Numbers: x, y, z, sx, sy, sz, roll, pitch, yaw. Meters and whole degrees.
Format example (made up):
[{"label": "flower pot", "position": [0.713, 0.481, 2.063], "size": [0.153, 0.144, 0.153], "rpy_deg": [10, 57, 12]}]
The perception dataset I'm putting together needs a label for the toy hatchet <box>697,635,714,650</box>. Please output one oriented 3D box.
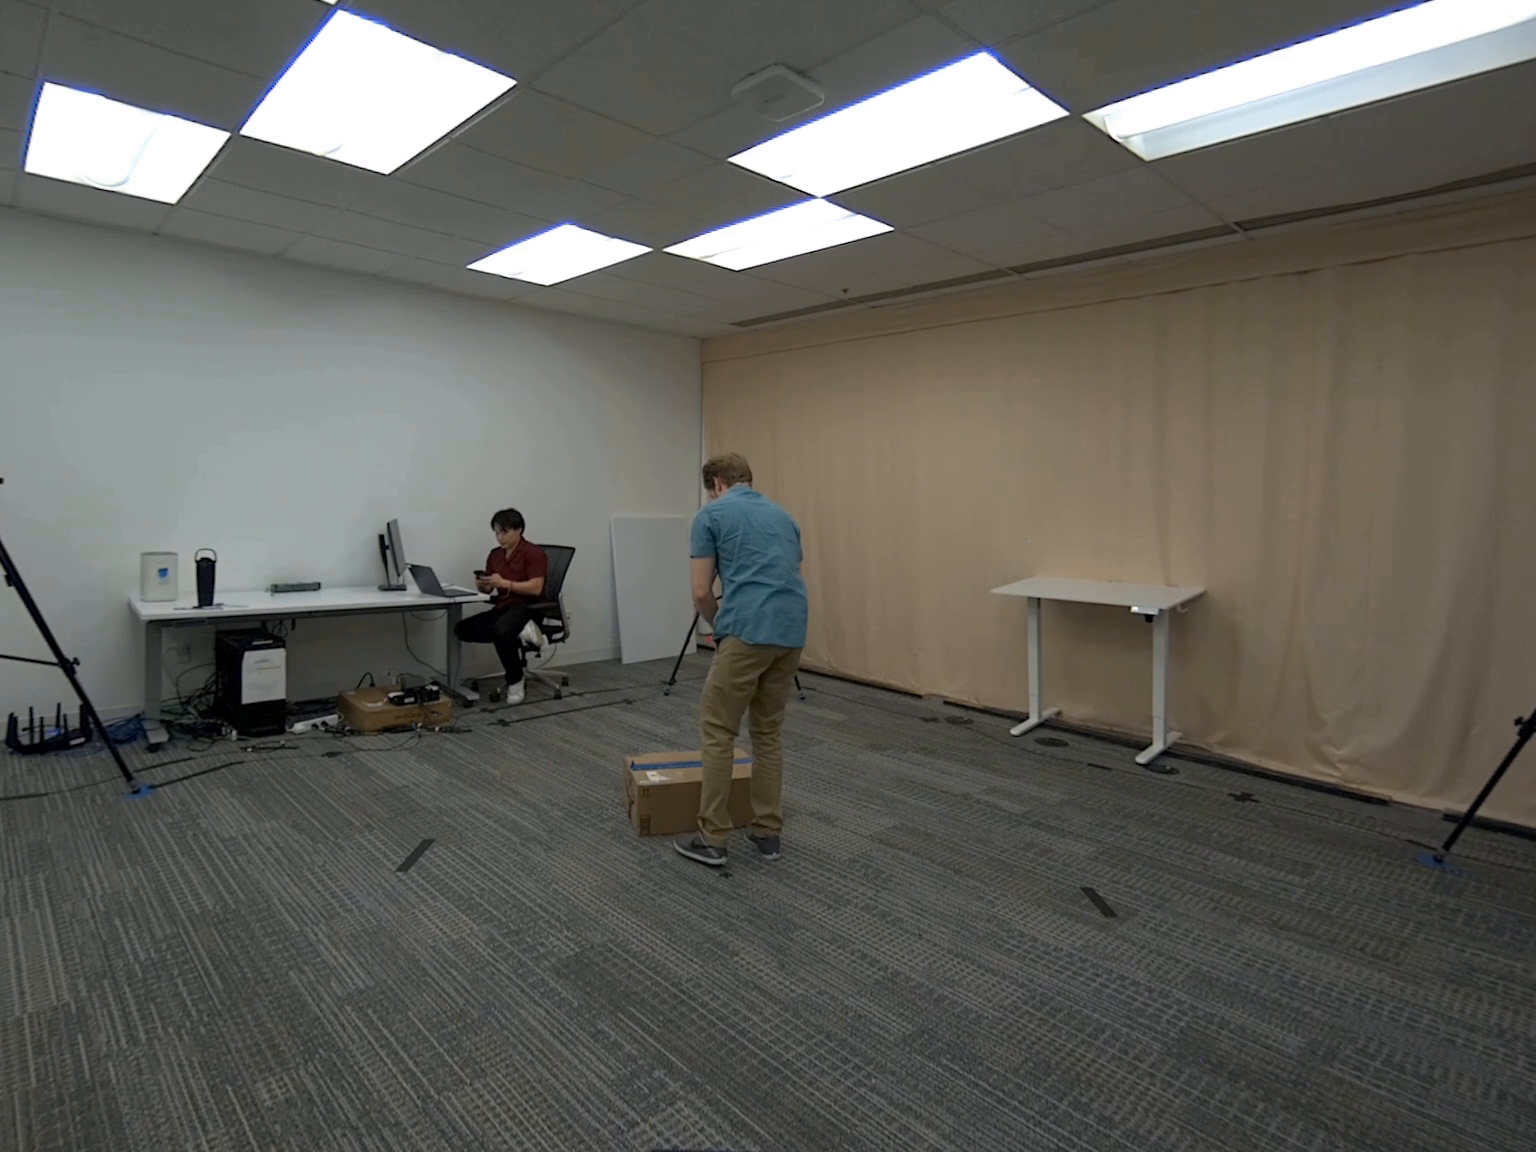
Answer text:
[{"label": "toy hatchet", "position": [-0.181, 0.286, 3.633], "size": [0.129, 0.030, 0.273], "rpy_deg": [13, -10, -20]}]
